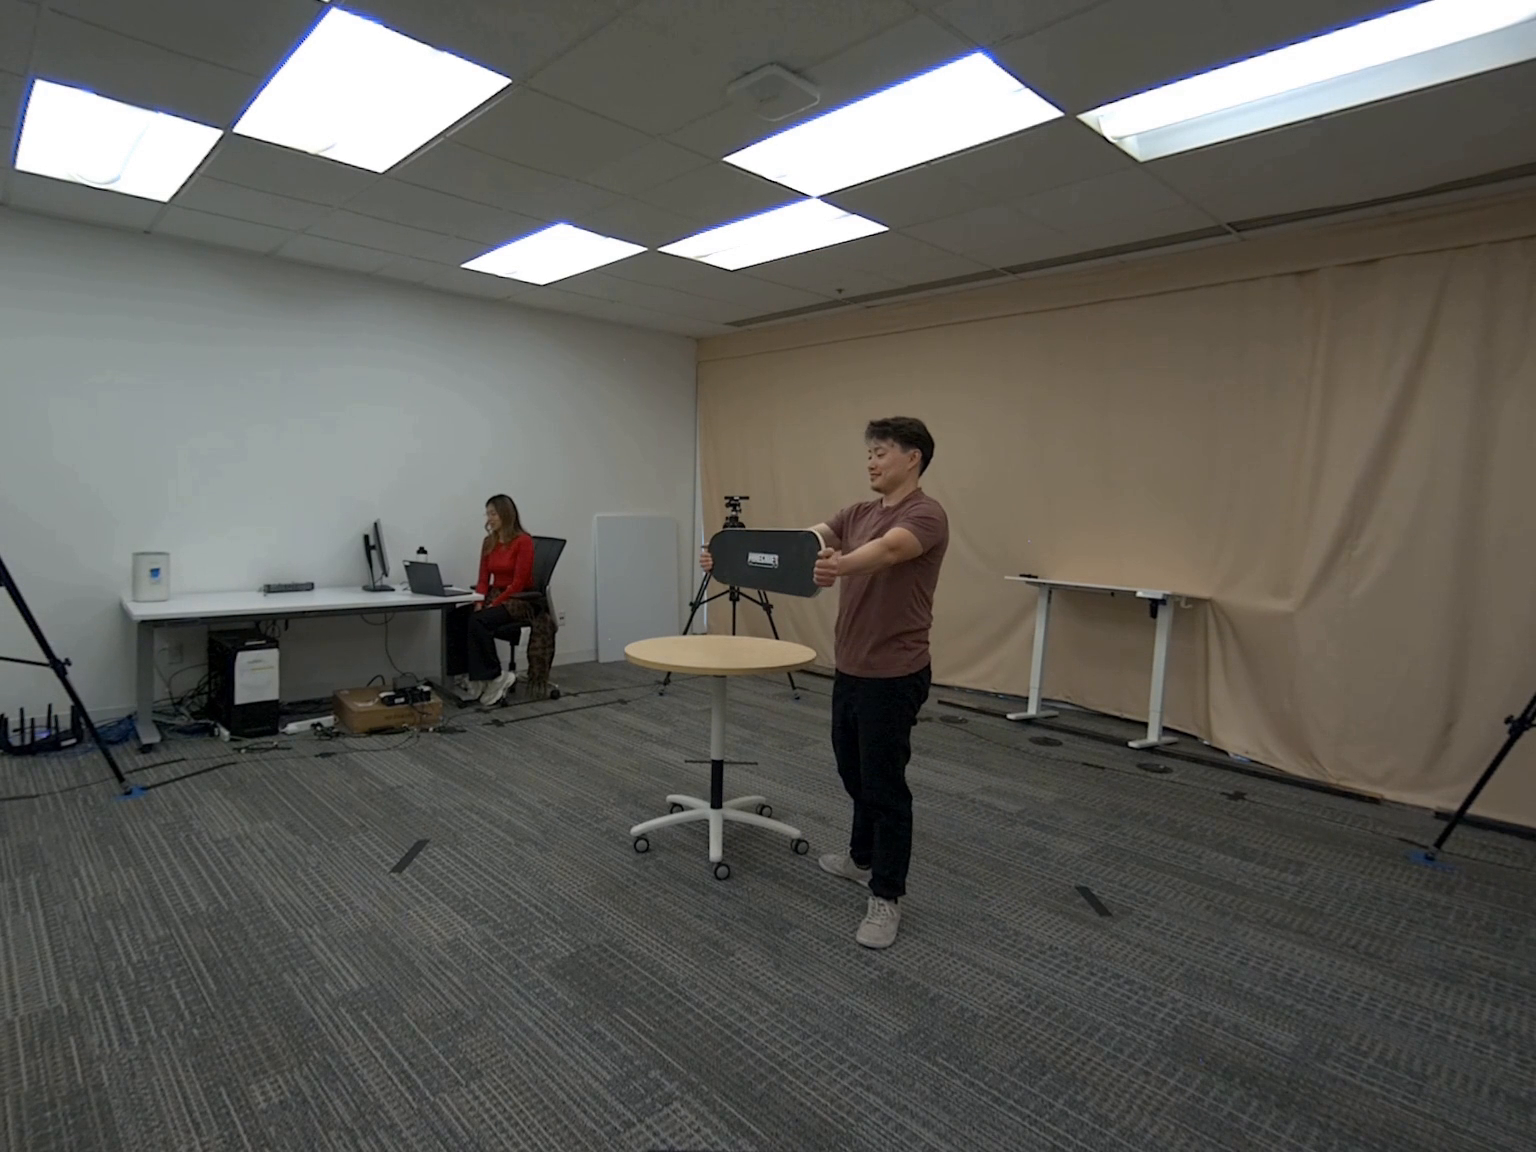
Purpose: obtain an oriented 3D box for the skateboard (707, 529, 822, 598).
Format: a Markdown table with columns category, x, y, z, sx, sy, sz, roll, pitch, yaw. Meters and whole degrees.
| category | x | y | z | sx | sy | sz | roll | pitch | yaw |
| --- | --- | --- | --- | --- | --- | --- | --- | --- | --- |
| skateboard | 0.002 | -0.051 | 2.646 | 0.108 | 0.193 | 0.801 | 5 | 1 | -27 |
